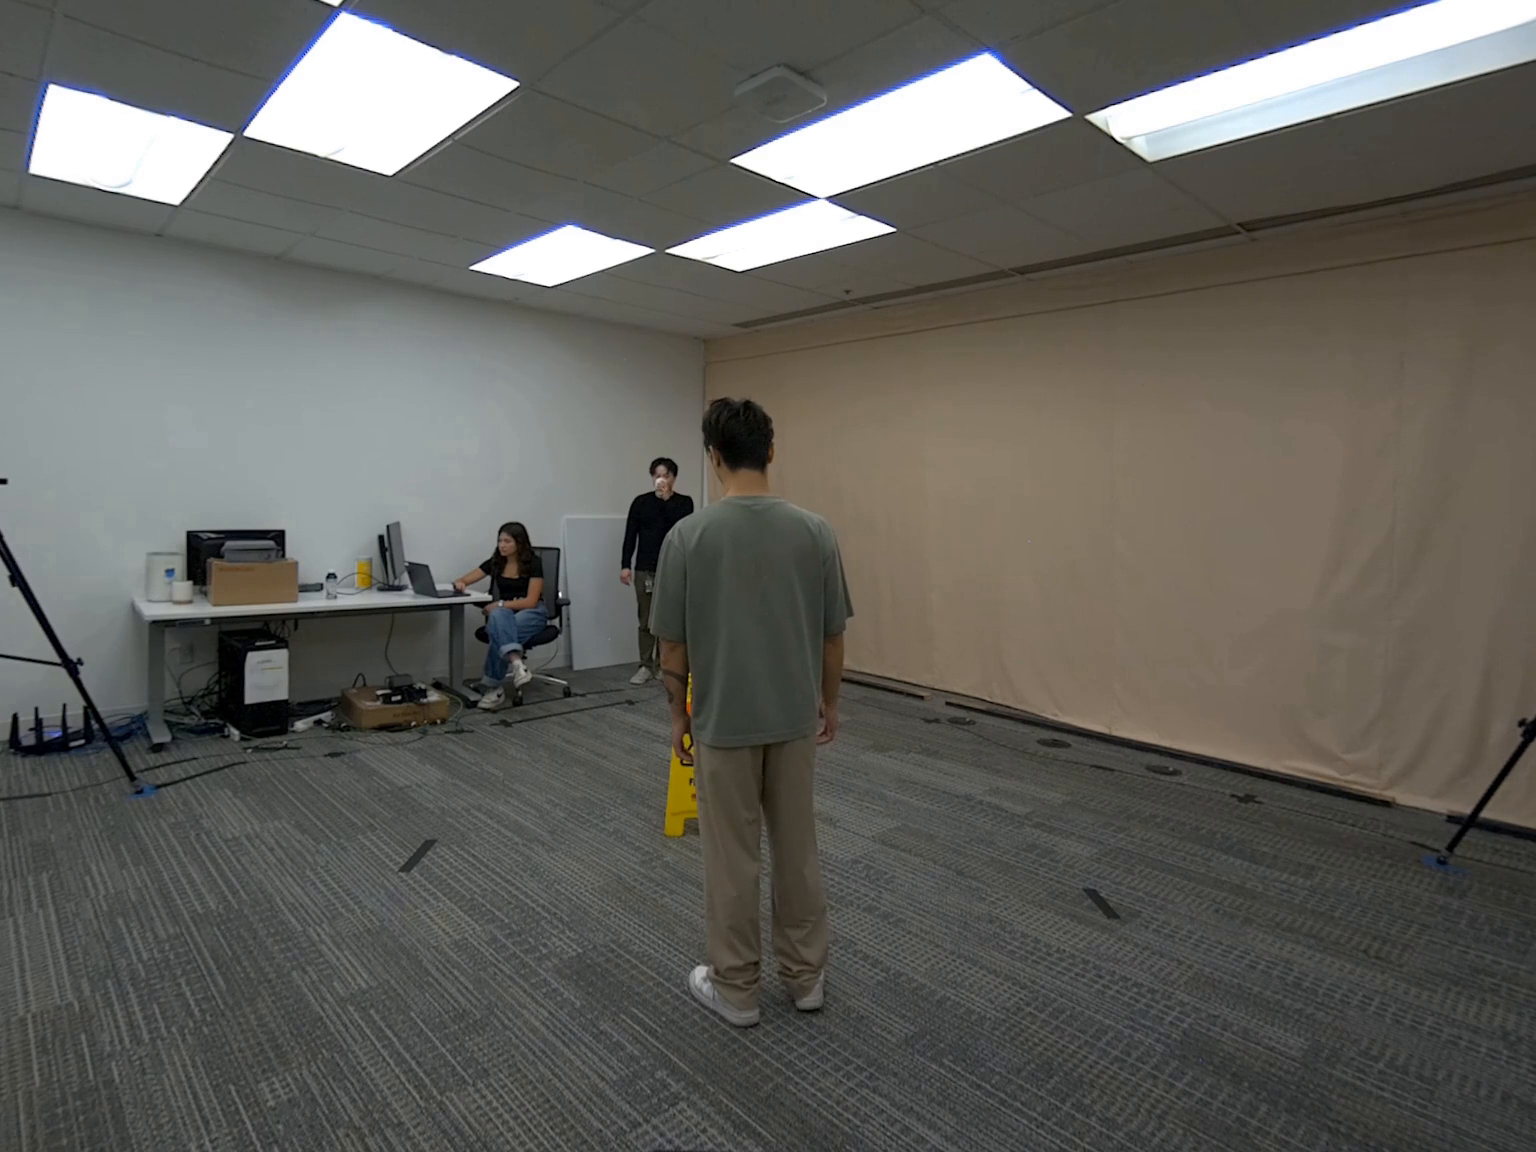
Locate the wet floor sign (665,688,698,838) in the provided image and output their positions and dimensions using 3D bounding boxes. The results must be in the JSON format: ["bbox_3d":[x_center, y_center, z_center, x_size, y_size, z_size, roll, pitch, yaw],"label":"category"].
[{"bbox_3d":[-0.283,0.738,3.557,0.283,0.645,0.289,0,3,2],"label":"wet floor sign"}]
